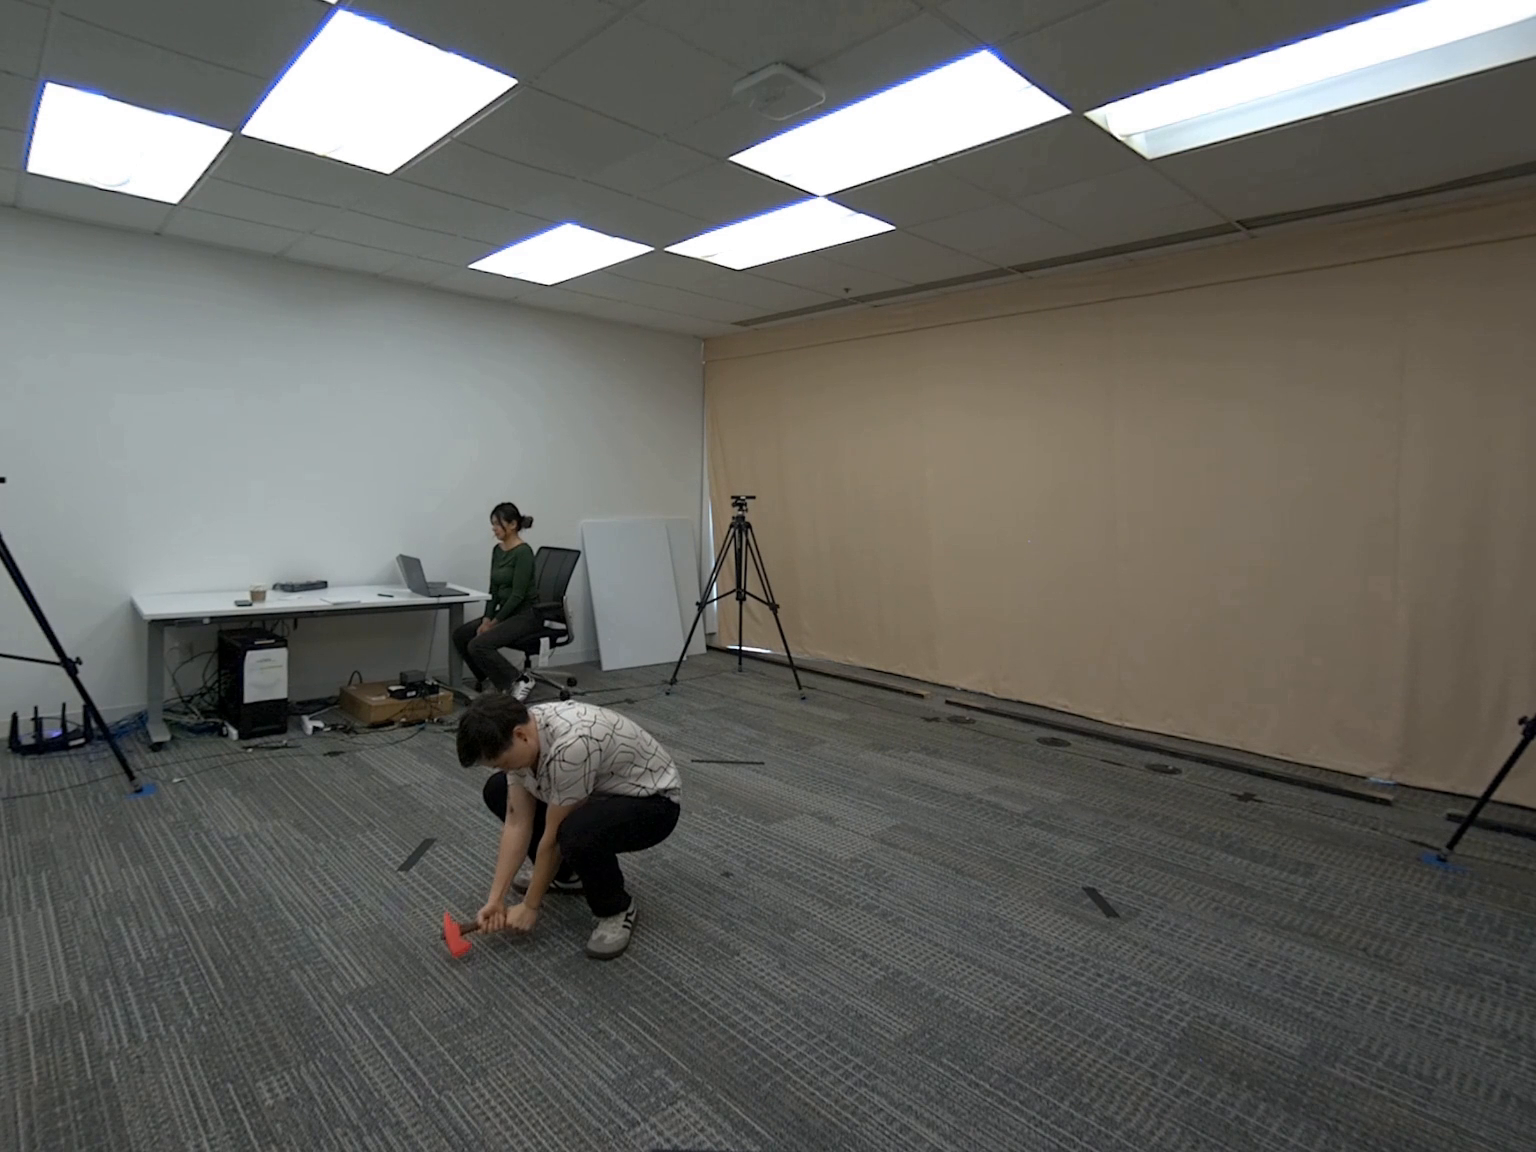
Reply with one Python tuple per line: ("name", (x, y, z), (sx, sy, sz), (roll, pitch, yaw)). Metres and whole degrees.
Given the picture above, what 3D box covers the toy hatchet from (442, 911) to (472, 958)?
("toy hatchet", (-0.852, 1.076, 2.539), (0.264, 0.029, 0.135), (13, 36, -24))
